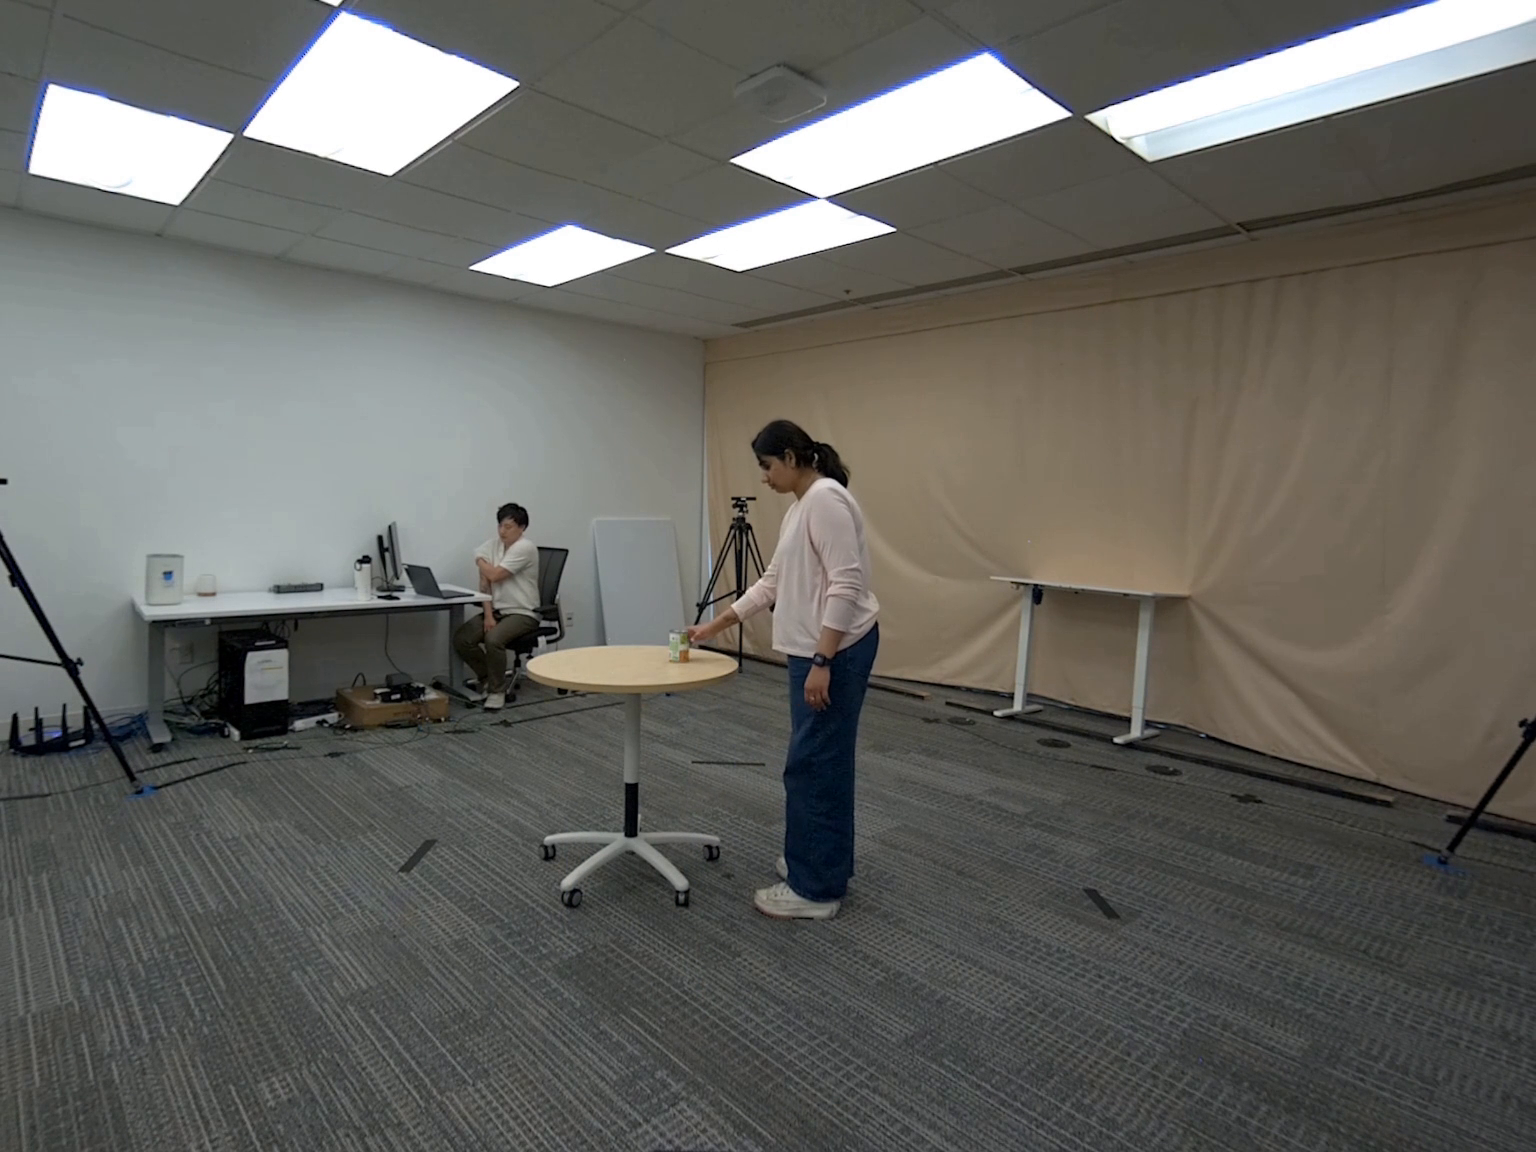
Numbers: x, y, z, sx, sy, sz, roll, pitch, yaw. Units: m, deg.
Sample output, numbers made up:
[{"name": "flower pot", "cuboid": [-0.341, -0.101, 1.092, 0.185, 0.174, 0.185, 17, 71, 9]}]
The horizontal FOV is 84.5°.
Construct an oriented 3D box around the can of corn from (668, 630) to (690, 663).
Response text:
[{"name": "can of corn", "cuboid": [-0.331, 0.259, 3.129, 0.074, 0.111, 0.074, 1, 4, -1]}]
